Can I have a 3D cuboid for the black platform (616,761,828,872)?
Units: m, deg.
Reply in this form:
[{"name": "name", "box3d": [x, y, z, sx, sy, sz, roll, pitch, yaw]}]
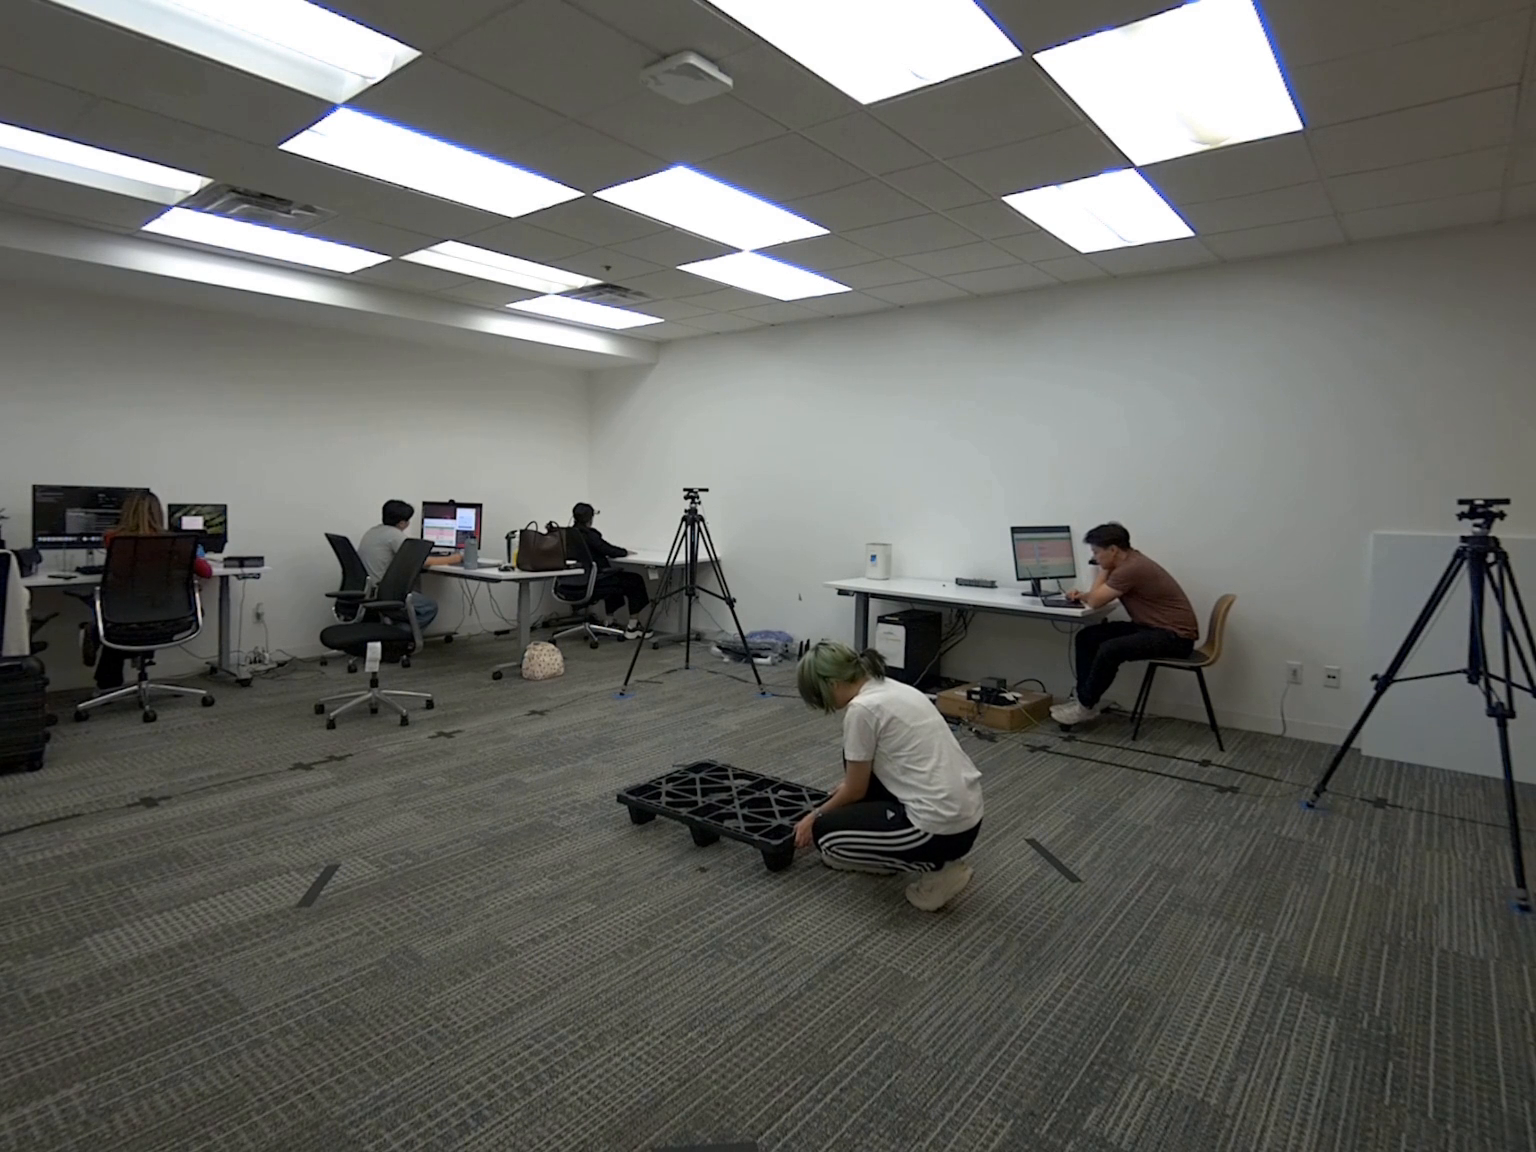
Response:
[{"name": "black platform", "box3d": [-0.144, 0.965, 3.487, 0.832, 0.143, 0.588, 5, 7, 36]}]
